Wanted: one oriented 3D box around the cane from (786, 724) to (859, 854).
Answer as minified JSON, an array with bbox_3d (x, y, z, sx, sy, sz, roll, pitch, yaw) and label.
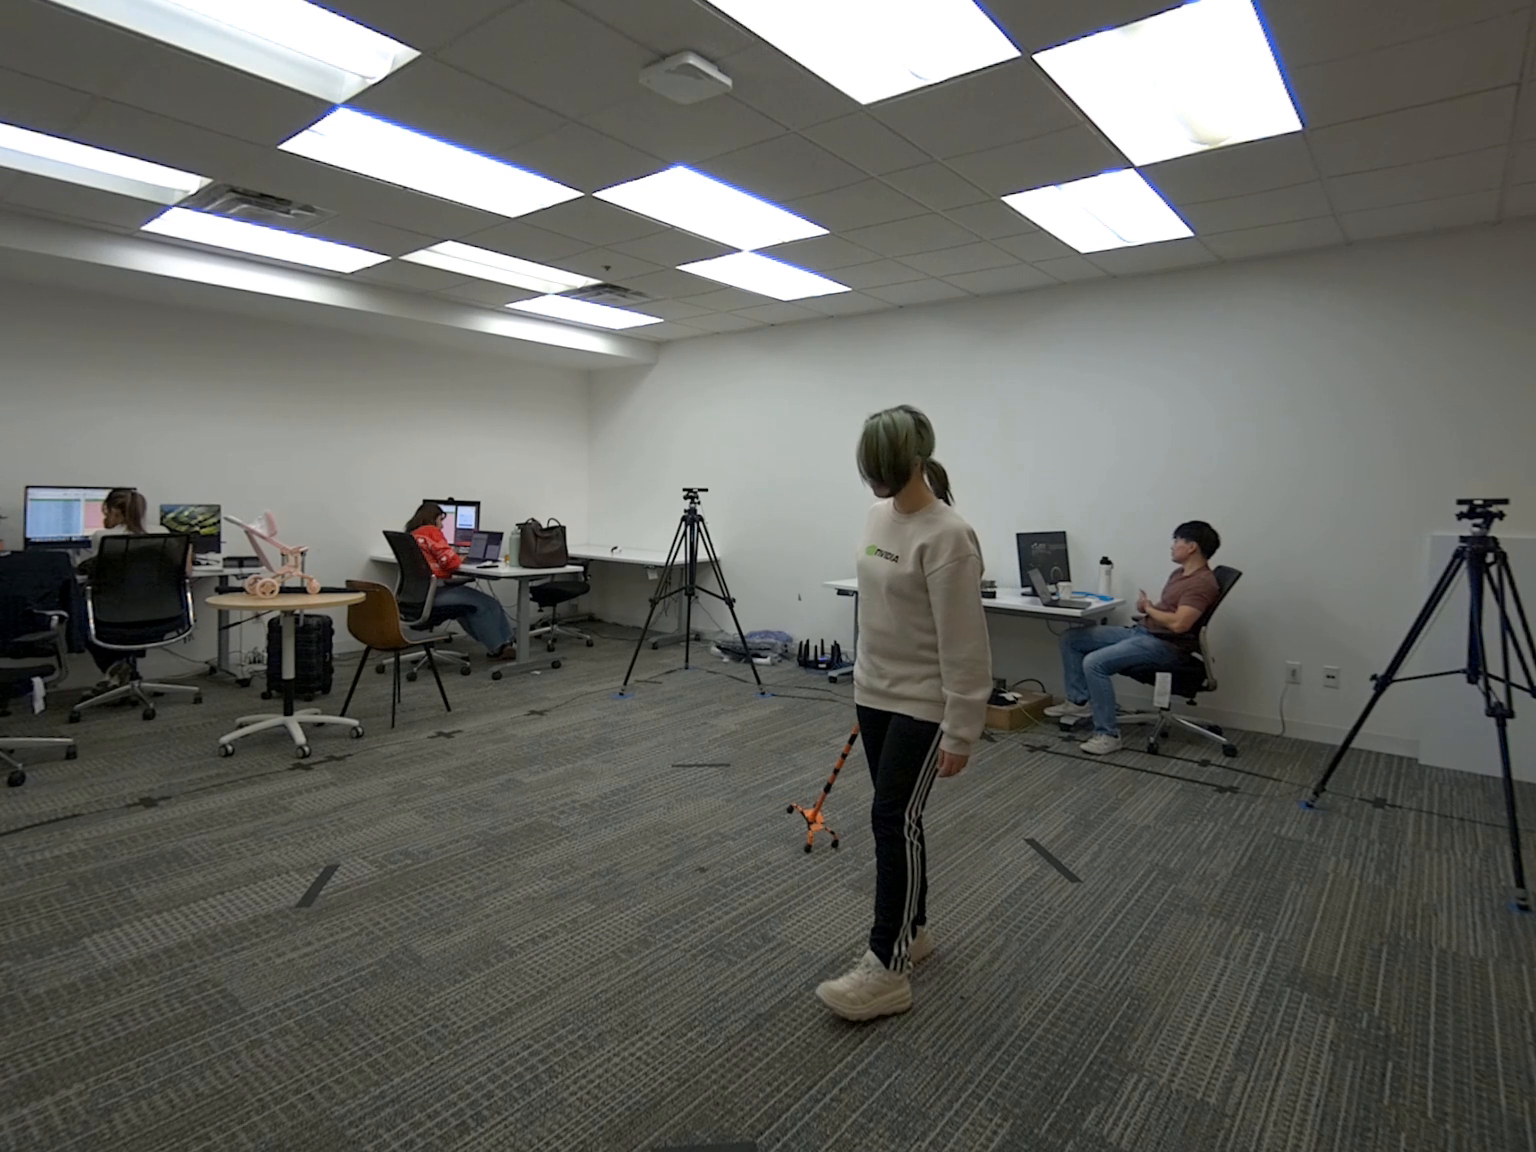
[{"bbox_3d":[0.281,0.654,3.125,0.148,0.893,0.215,1,38,-23],"label":"cane"}]
